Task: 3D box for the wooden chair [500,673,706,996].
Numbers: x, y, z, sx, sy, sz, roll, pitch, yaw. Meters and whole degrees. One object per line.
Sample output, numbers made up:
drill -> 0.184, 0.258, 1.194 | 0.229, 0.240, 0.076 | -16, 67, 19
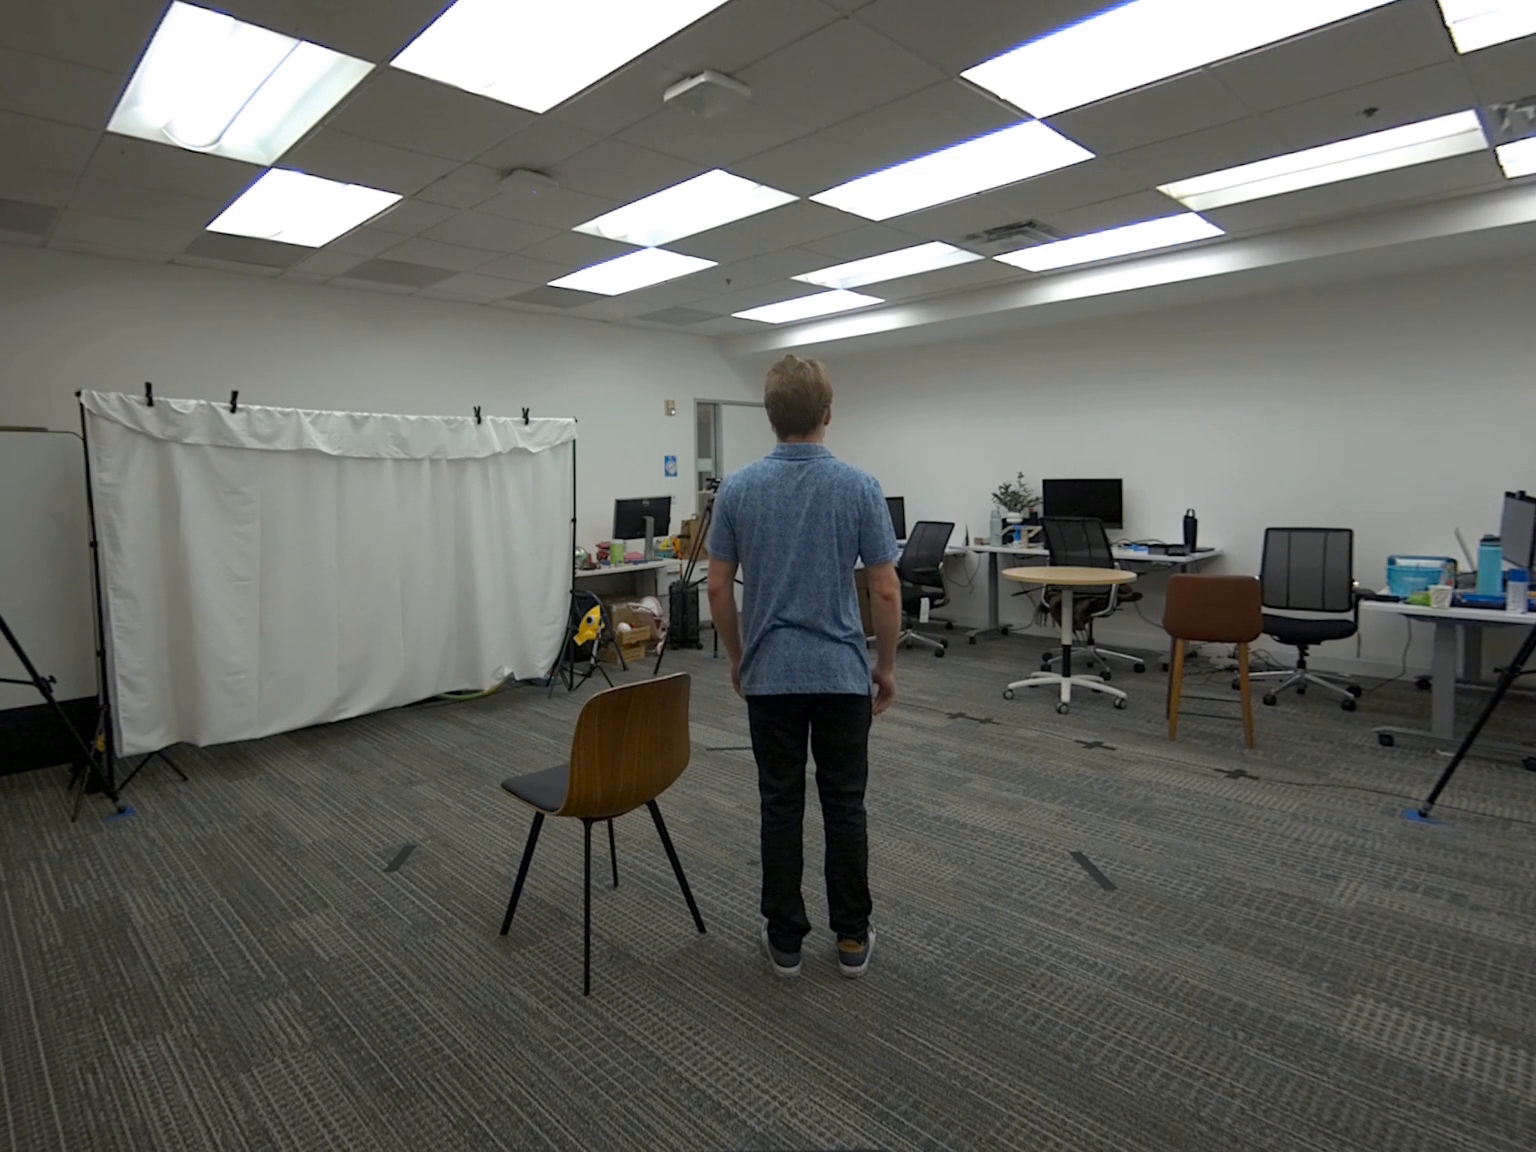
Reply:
wooden chair -> -0.517, 0.679, 2.611 | 0.541, 0.871, 0.466 | 10, 11, 44
